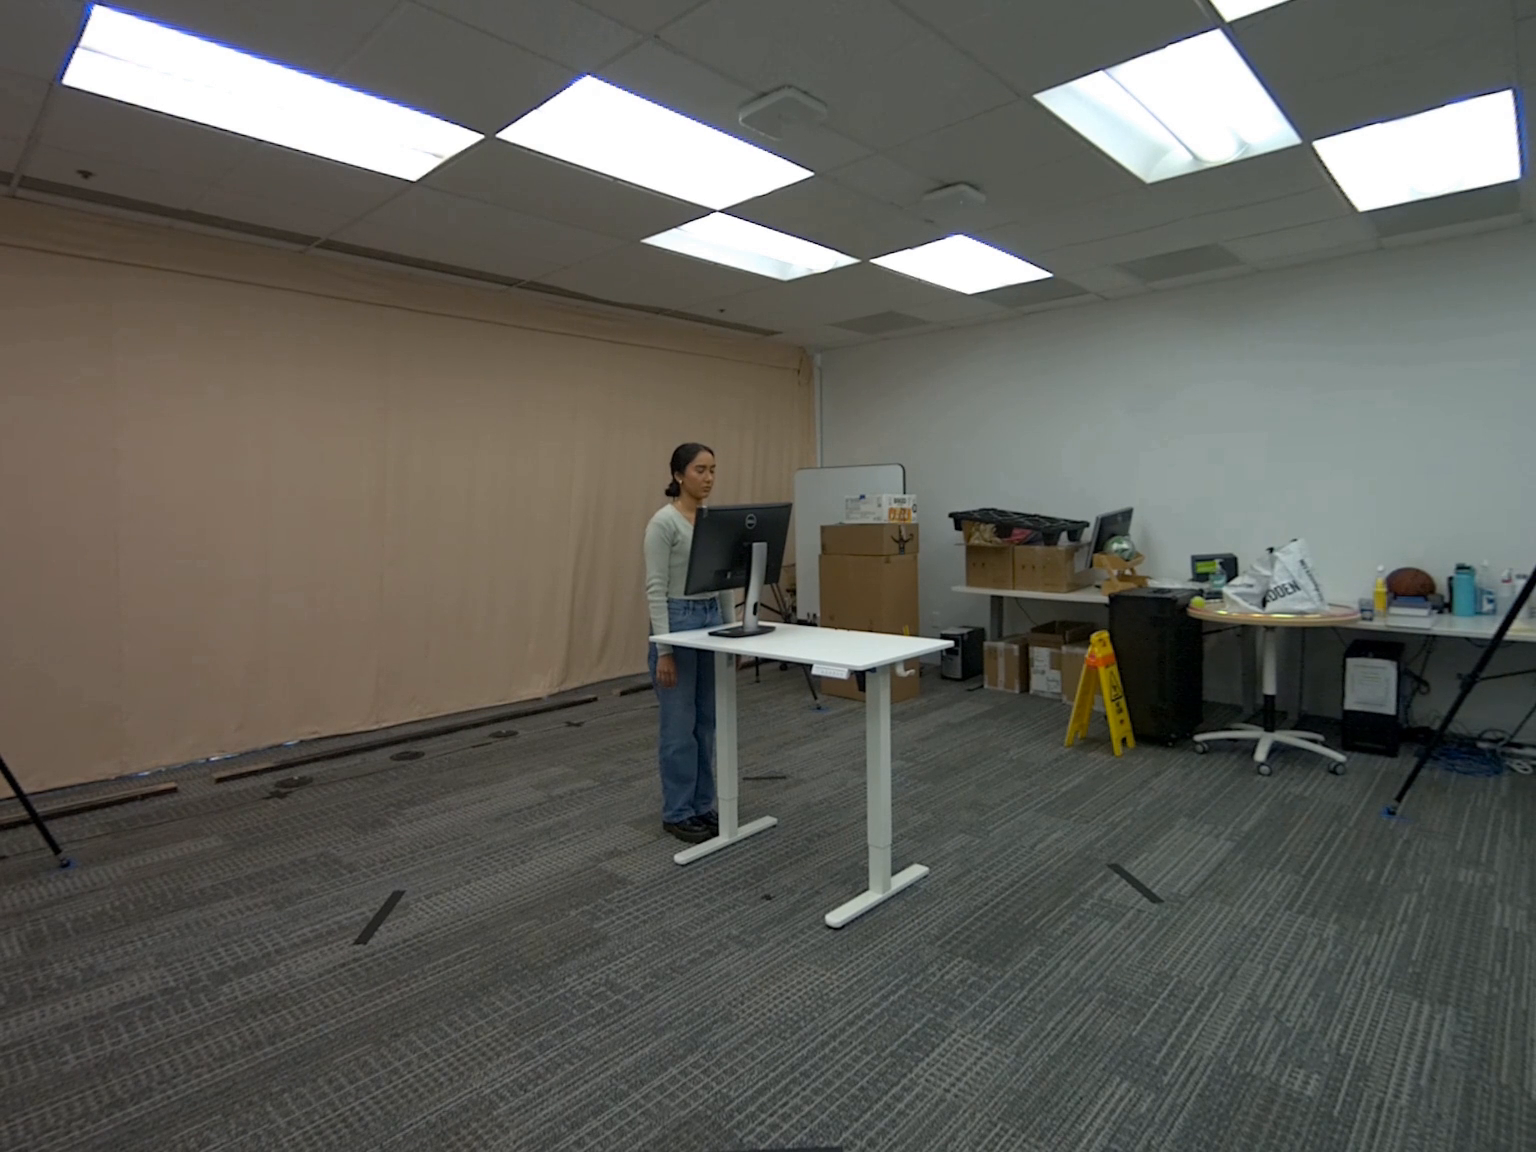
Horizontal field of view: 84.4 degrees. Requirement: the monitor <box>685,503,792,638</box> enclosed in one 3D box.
[{"bbox_3d":[-0.089,-0.022,3.347,0.193,0.521,0.523,5,7,42],"label":"monitor"}]
